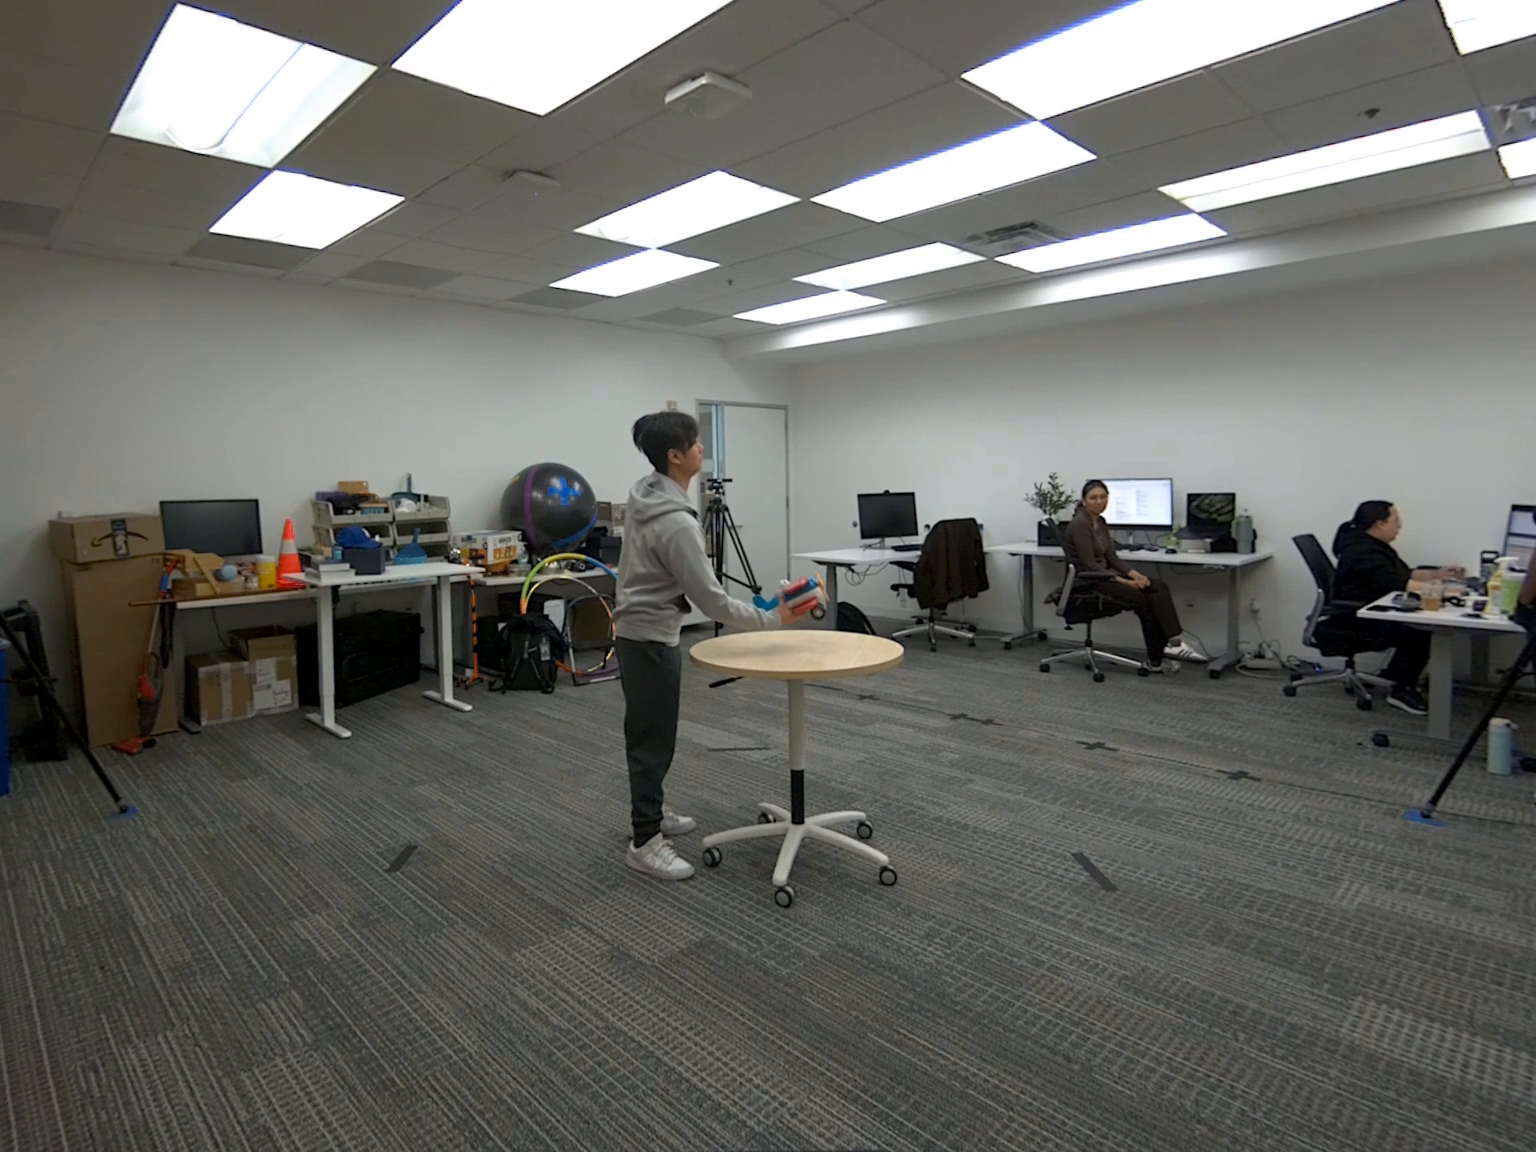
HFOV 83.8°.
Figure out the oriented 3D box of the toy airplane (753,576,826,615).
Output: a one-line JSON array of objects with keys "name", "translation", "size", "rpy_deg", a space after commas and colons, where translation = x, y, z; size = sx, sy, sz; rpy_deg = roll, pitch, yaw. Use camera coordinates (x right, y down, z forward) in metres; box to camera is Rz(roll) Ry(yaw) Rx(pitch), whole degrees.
[{"name": "toy airplane", "translation": [0.084, 0.090, 3.029], "size": [0.254, 0.156, 0.256], "rpy_deg": [-12, 3, -27]}]
